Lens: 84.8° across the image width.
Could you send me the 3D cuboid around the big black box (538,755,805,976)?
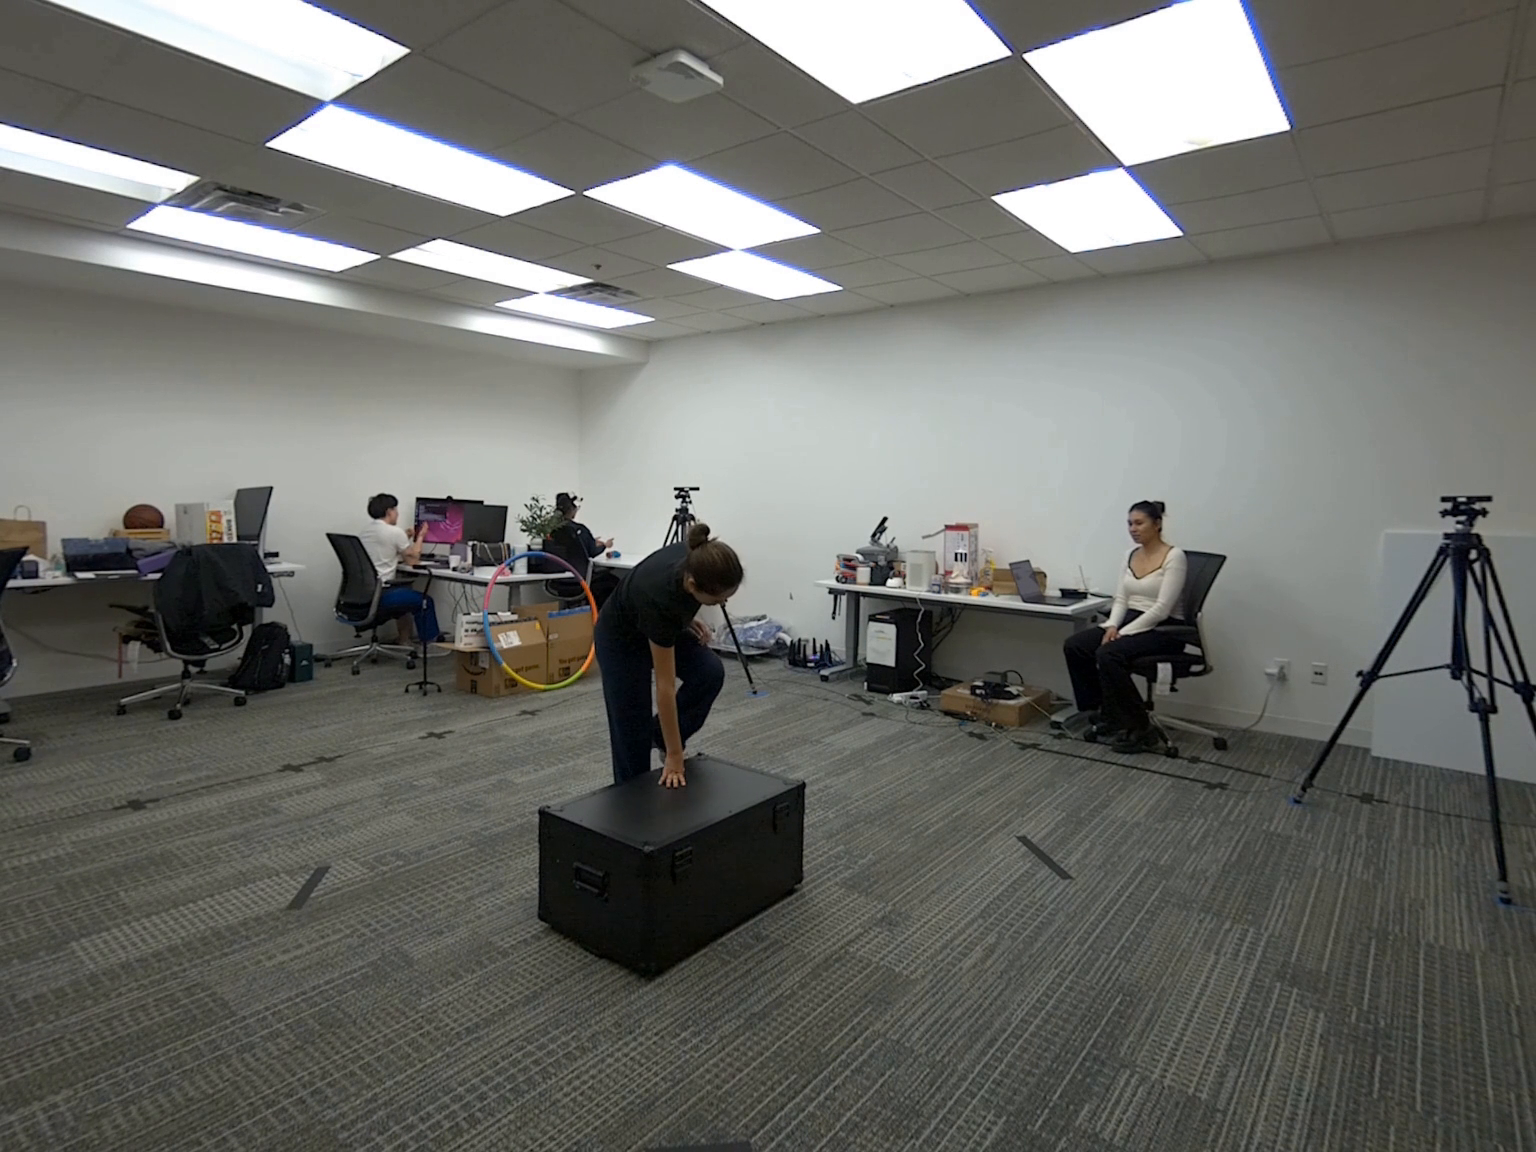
[{"bbox_3d":[-0.270,0.883,2.848,0.539,0.395,0.836,4,5,38],"label":"big black box"}]
